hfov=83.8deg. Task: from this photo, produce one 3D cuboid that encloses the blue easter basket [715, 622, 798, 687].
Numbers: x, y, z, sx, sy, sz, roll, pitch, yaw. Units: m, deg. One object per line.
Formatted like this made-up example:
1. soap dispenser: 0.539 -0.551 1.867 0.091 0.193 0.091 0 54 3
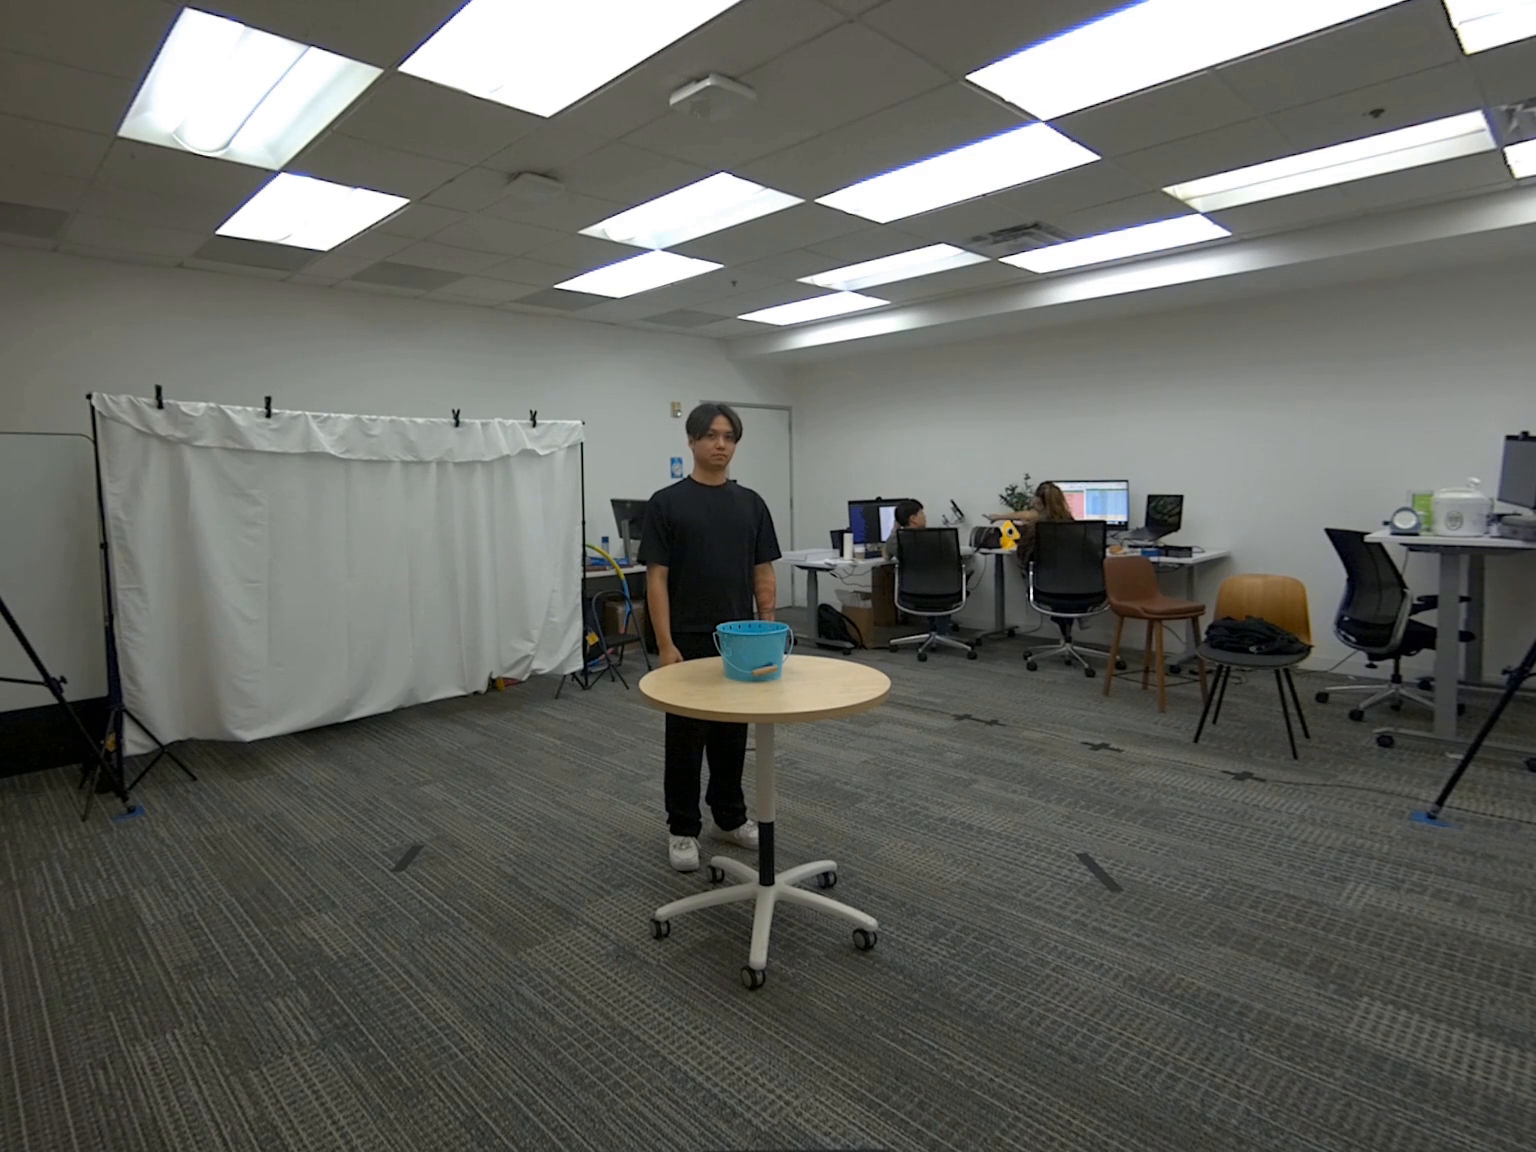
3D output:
1. blue easter basket: -0.043 0.241 2.688 0.243 0.155 0.245 0 5 -2
